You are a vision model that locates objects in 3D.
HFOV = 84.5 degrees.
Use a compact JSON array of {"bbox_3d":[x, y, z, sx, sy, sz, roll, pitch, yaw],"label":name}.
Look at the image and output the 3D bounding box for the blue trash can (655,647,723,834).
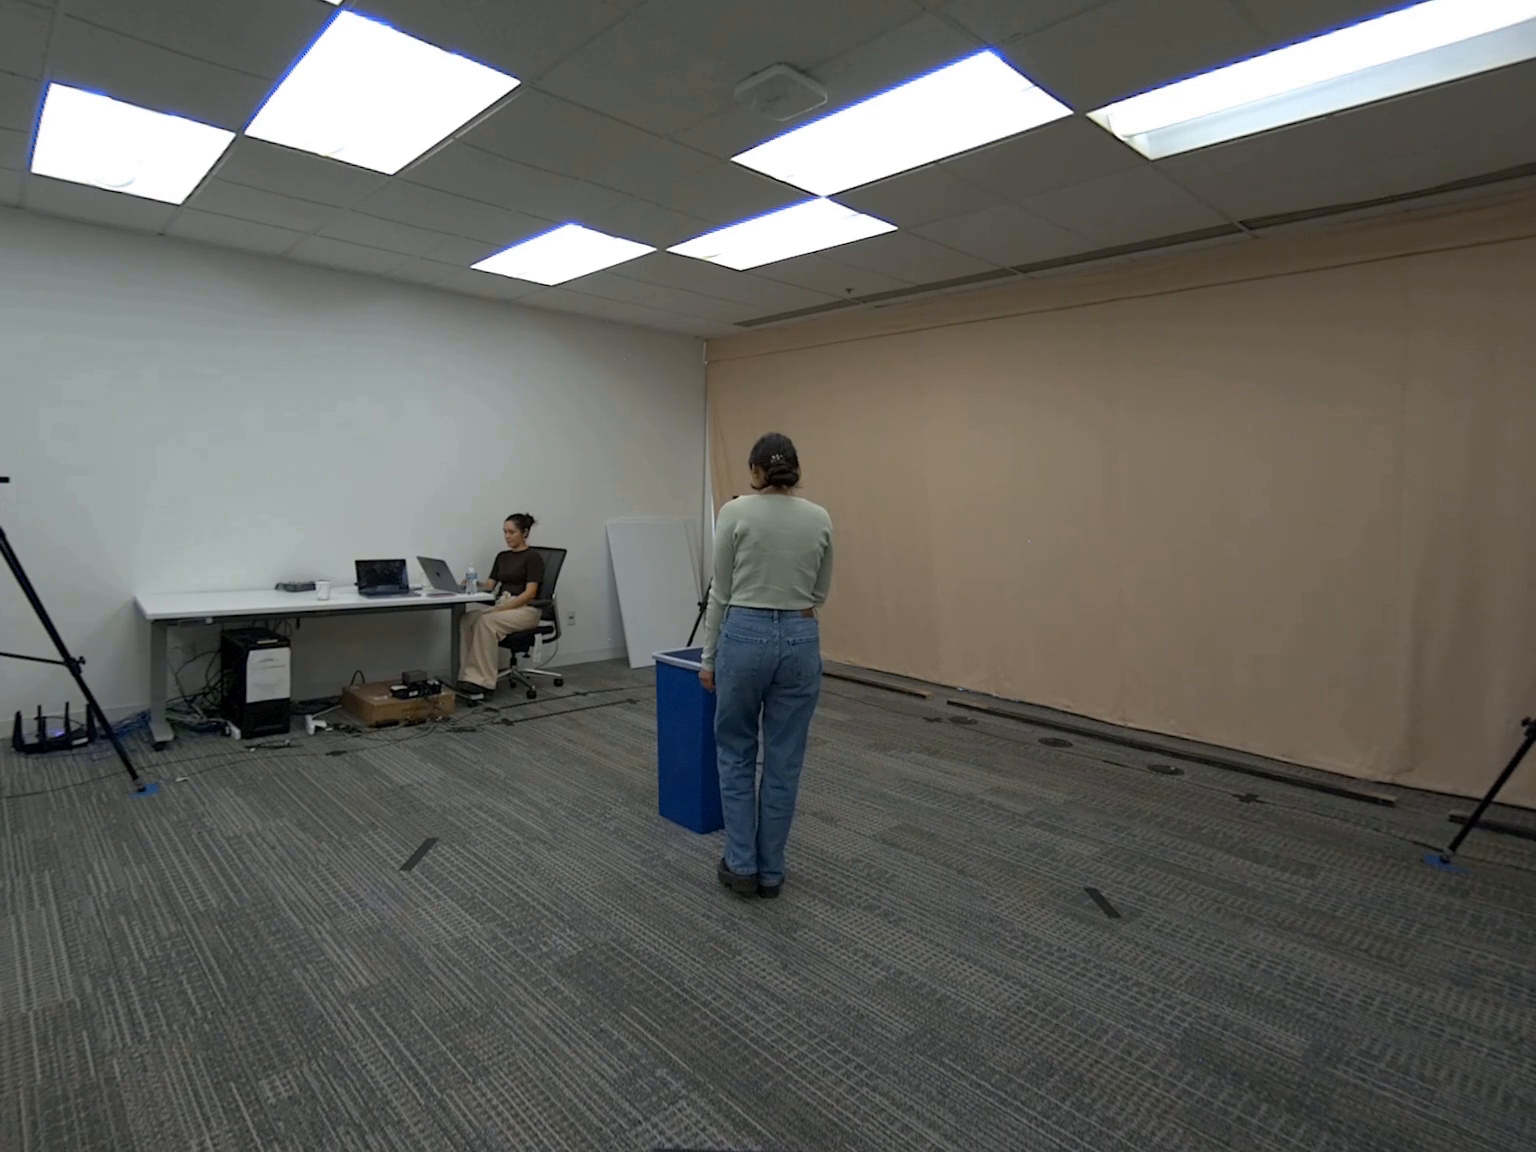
[{"bbox_3d":[-0.279,0.693,3.660,0.369,0.712,0.384,-2,5,-44],"label":"blue trash can"}]
